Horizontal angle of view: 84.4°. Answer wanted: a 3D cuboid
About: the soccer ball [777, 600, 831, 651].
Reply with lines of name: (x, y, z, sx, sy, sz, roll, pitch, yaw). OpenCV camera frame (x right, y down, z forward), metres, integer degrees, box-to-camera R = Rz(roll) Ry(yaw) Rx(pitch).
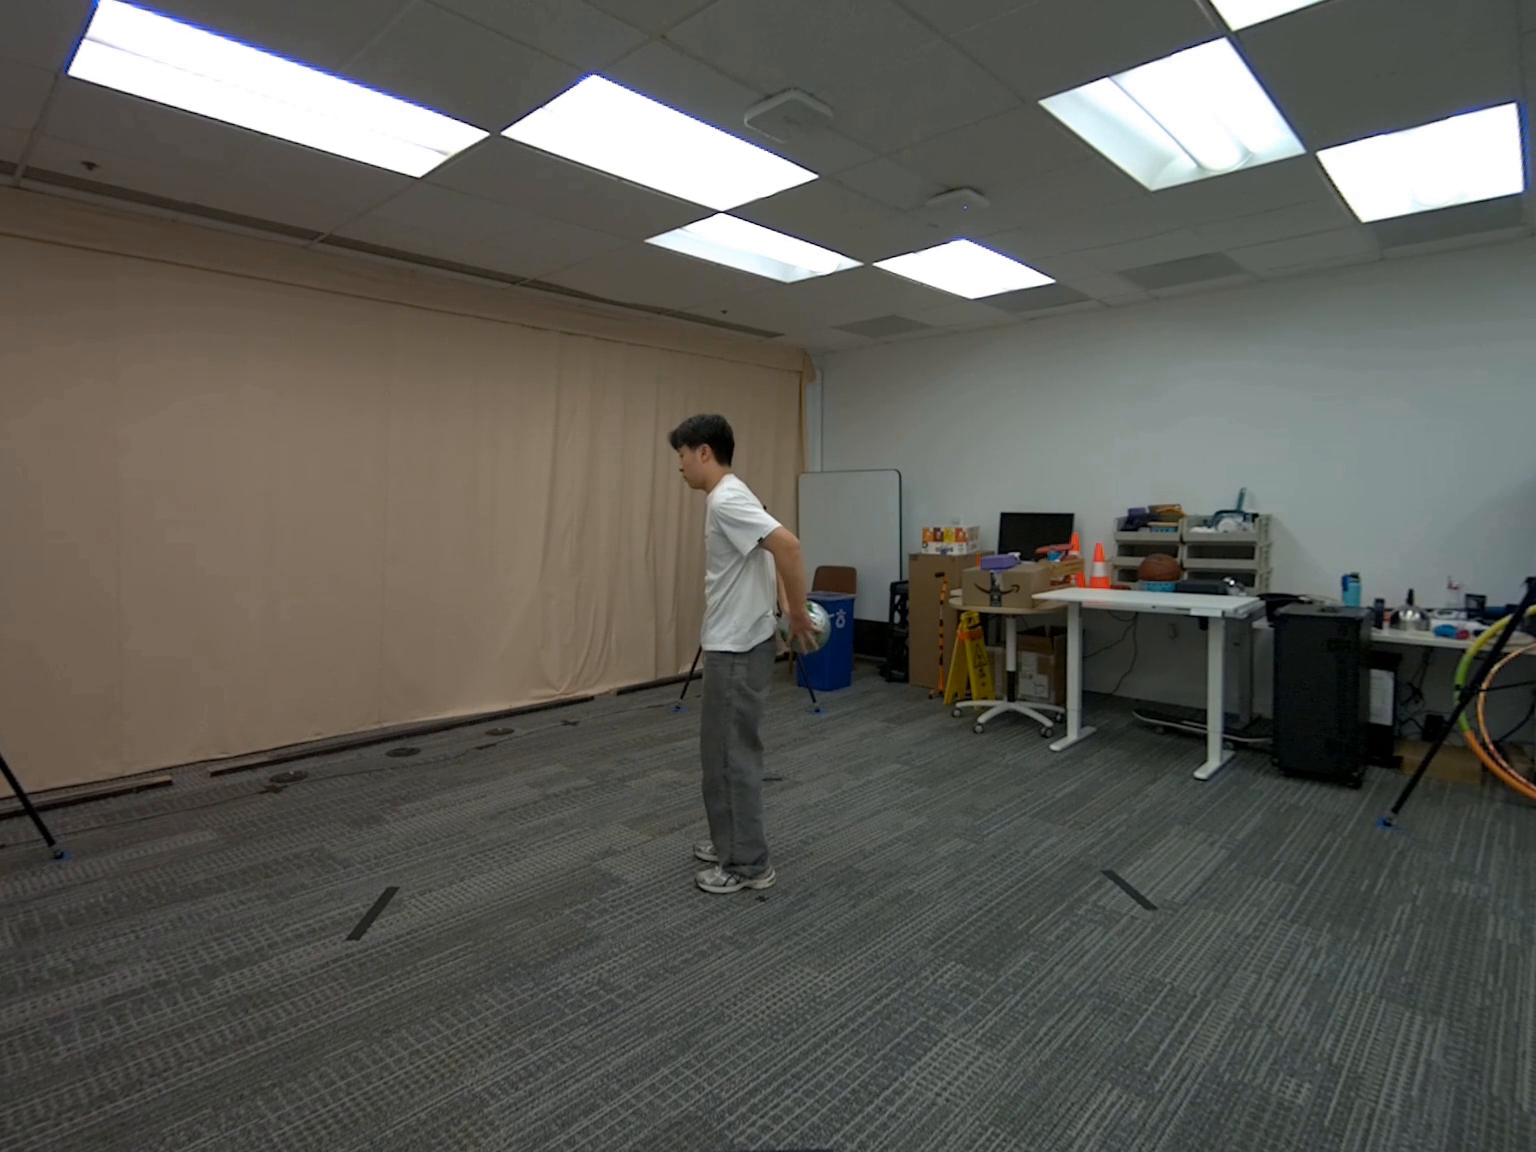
soccer ball: (0.143, 0.188, 3.041, 0.187, 0.187, 0.188, 0, 4, -2)
